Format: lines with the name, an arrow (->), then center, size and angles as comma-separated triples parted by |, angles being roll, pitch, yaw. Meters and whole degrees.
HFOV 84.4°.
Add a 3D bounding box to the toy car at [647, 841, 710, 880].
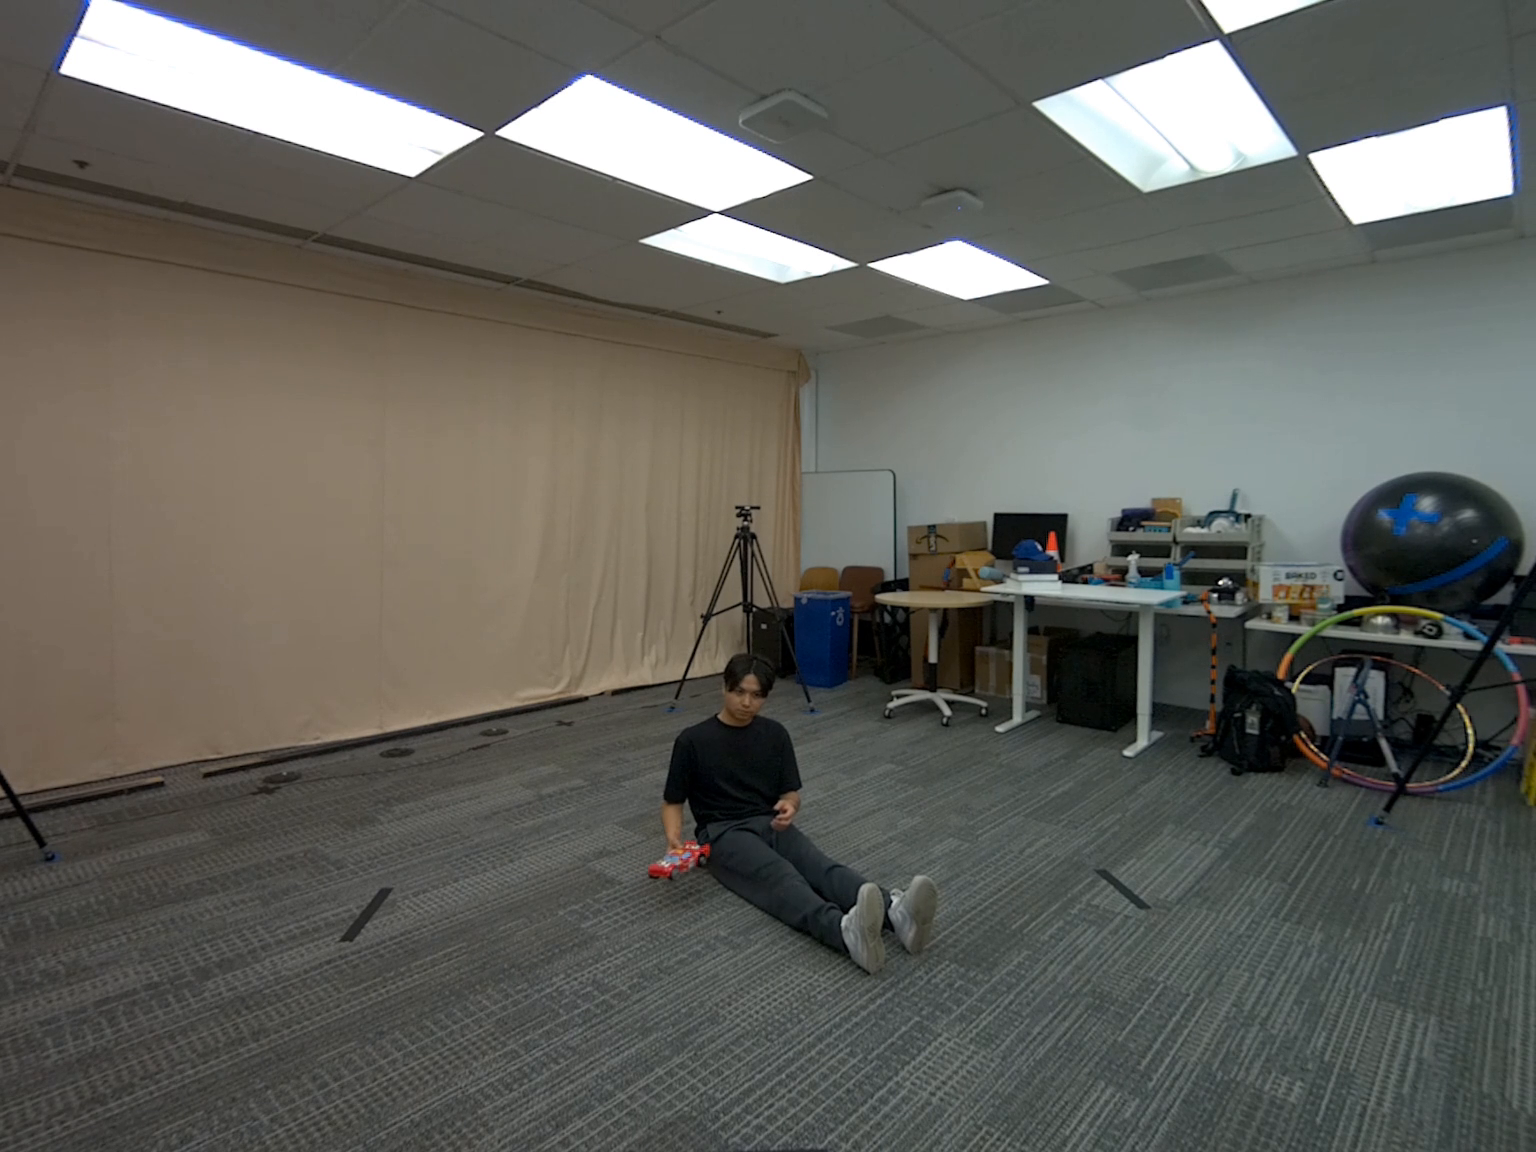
toy car -> -0.282, 0.991, 2.964 | 0.134, 0.083, 0.249 | -11, 7, 36
